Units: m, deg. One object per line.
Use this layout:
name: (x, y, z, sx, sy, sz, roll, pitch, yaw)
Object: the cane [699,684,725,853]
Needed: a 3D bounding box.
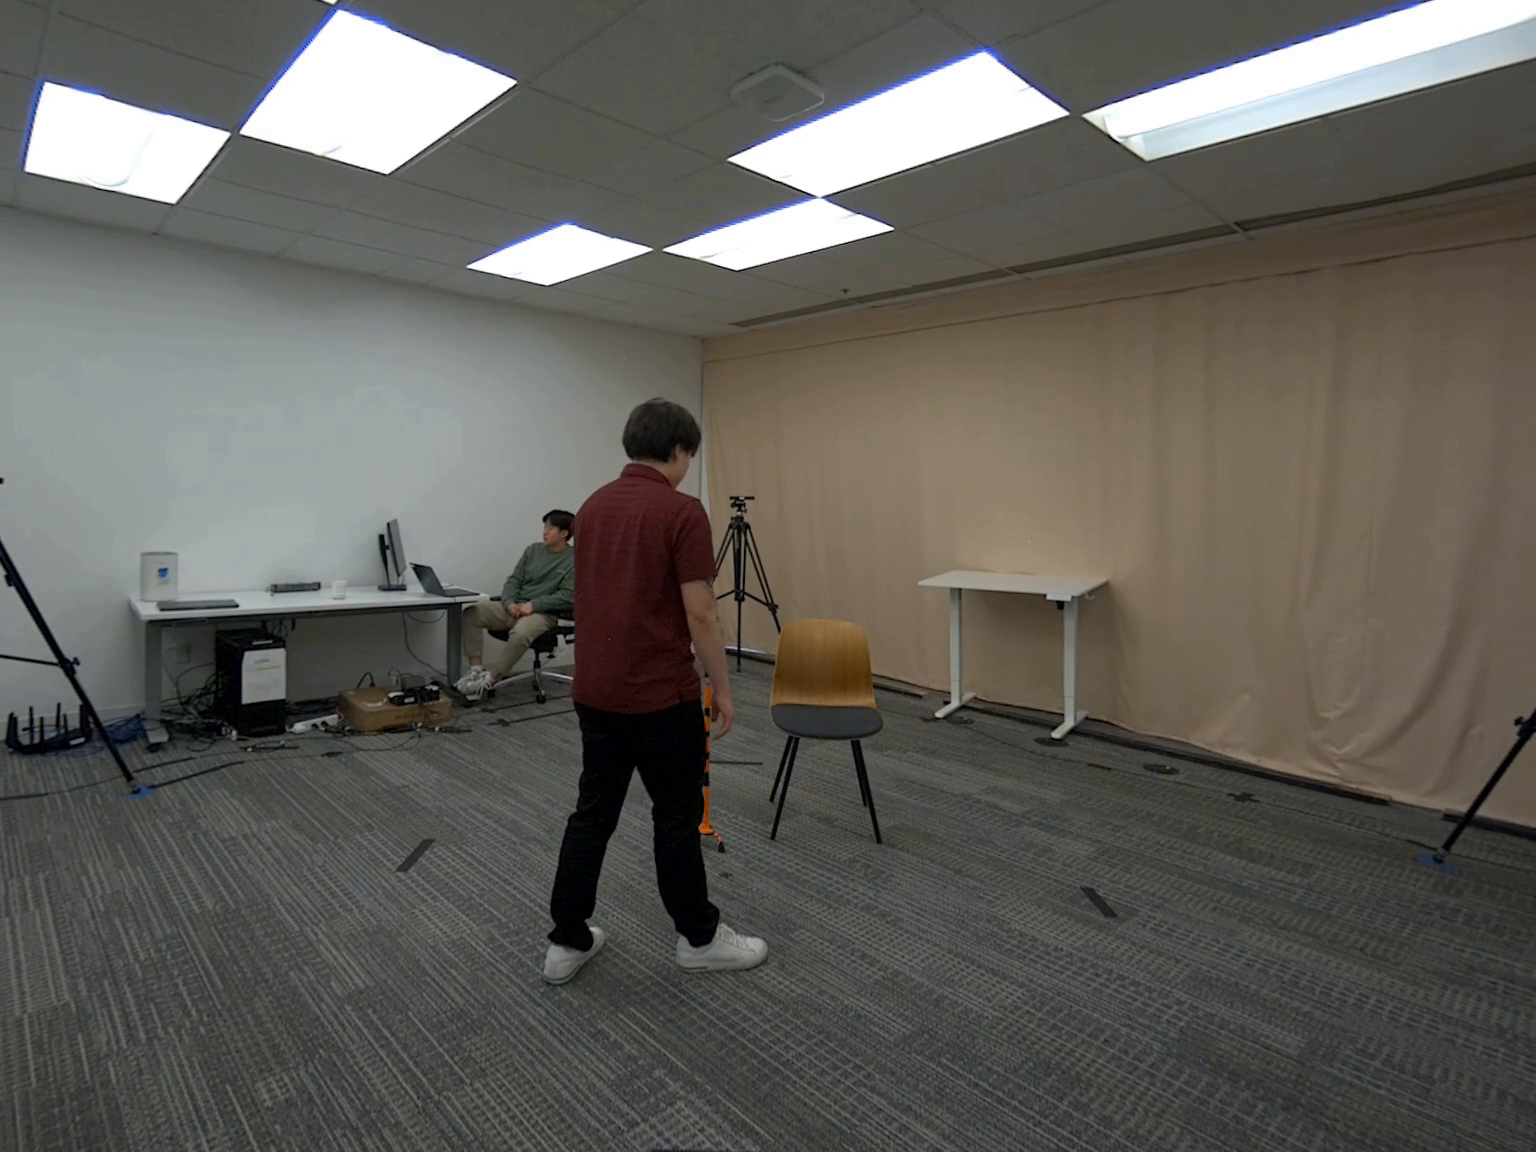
cane: (-0.262, 0.624, 3.355, 0.149, 0.906, 0.210, 1, 3, -20)
